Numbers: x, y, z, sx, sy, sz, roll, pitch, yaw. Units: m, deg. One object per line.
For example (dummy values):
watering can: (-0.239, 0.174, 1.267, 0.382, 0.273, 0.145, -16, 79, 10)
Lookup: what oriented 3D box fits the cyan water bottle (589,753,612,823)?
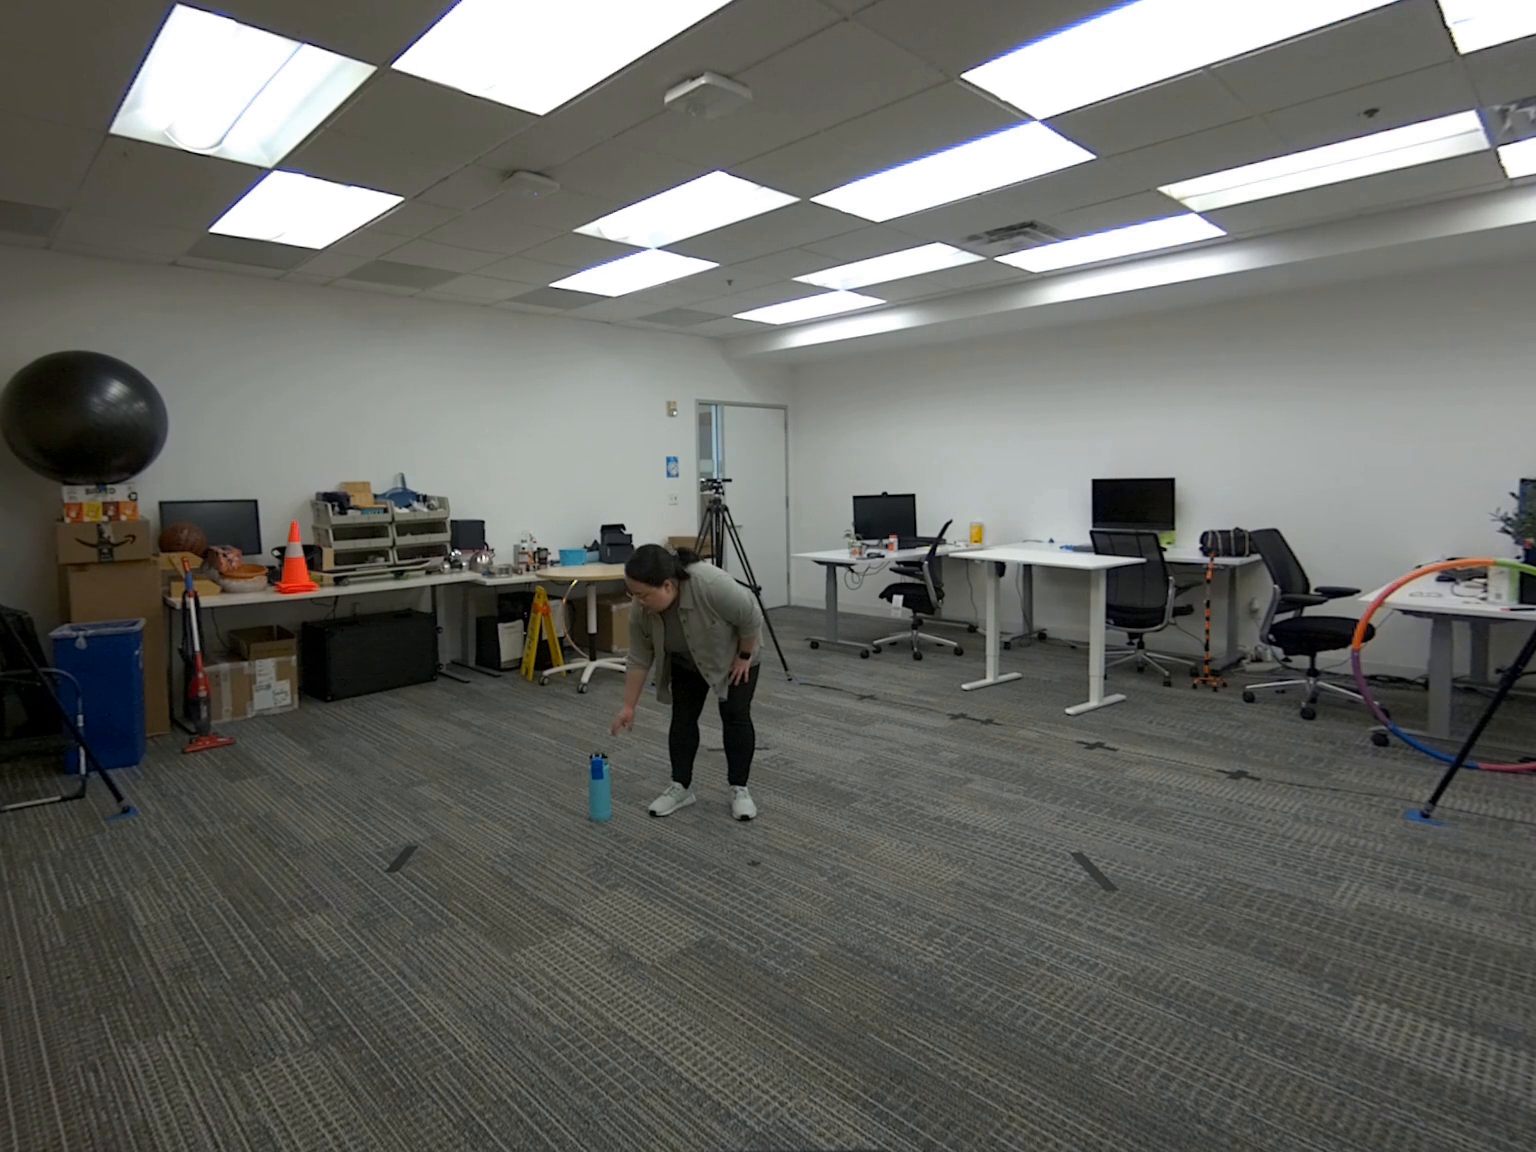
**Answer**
cyan water bottle: (-0.699, 0.869, 3.557, 0.092, 0.282, 0.093, -1, 4, -2)
